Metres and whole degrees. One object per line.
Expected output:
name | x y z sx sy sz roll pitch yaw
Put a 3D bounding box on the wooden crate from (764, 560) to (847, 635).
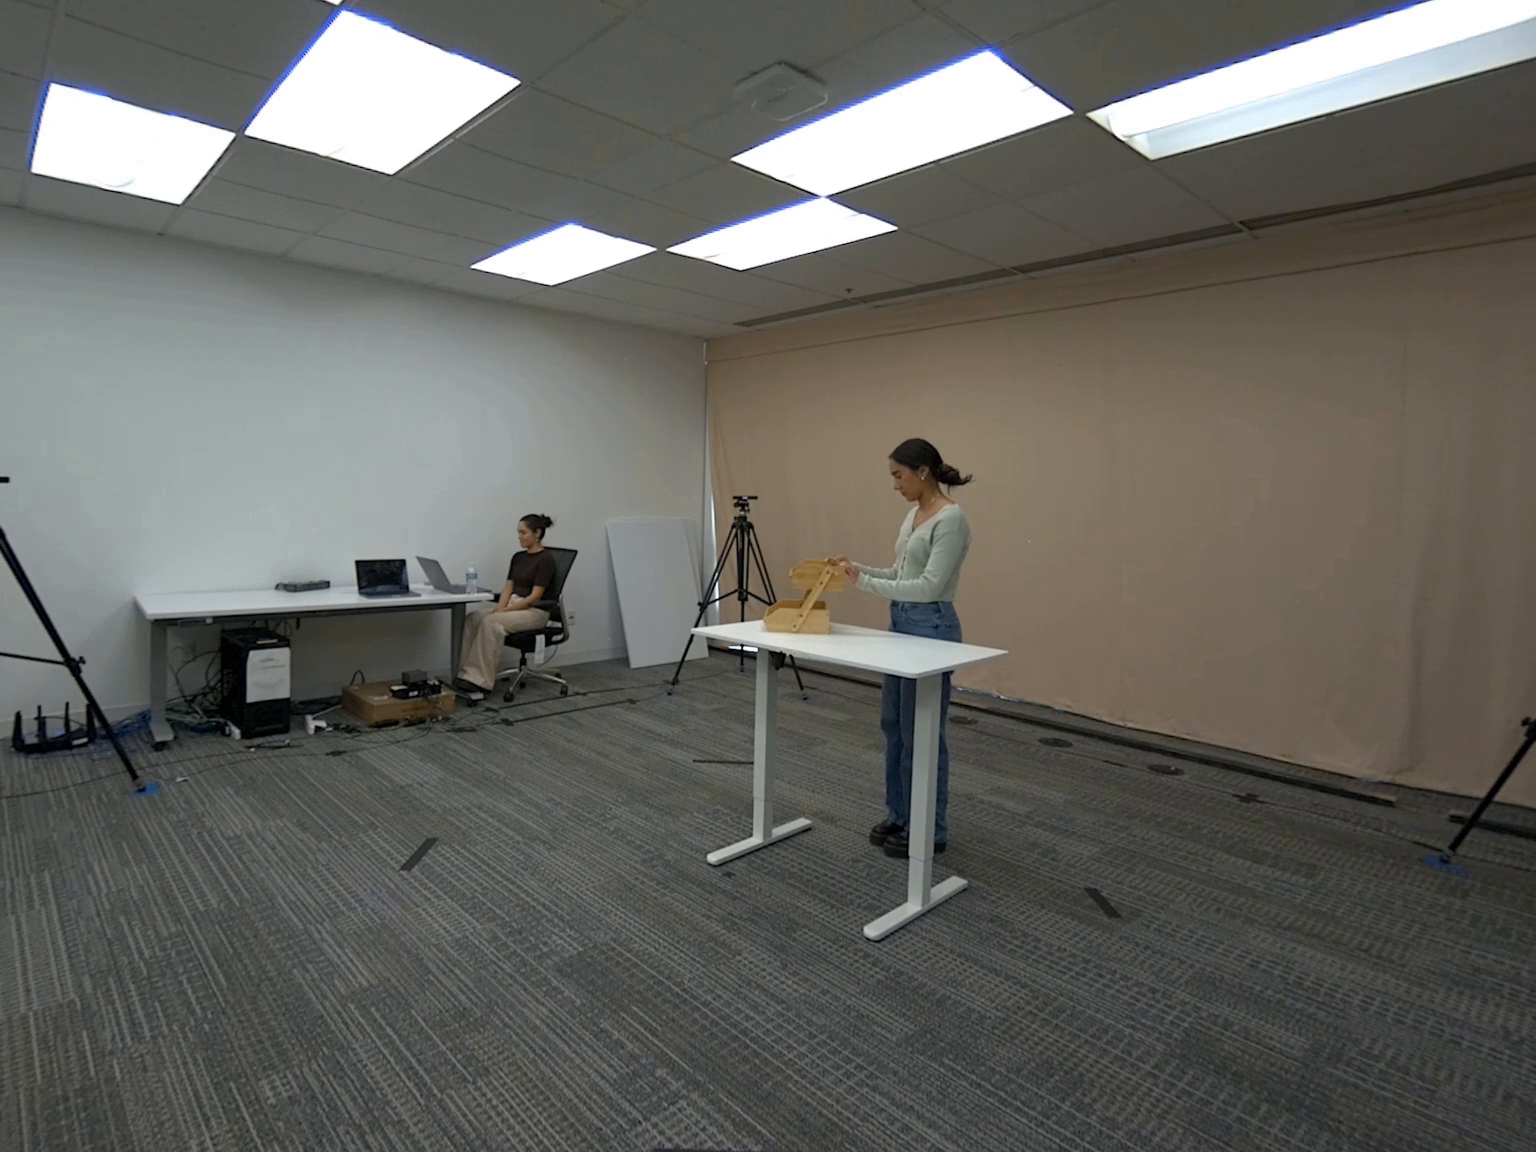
wooden crate | 0.141 0.073 3.331 0.303 0.272 0.324 2 4 4
